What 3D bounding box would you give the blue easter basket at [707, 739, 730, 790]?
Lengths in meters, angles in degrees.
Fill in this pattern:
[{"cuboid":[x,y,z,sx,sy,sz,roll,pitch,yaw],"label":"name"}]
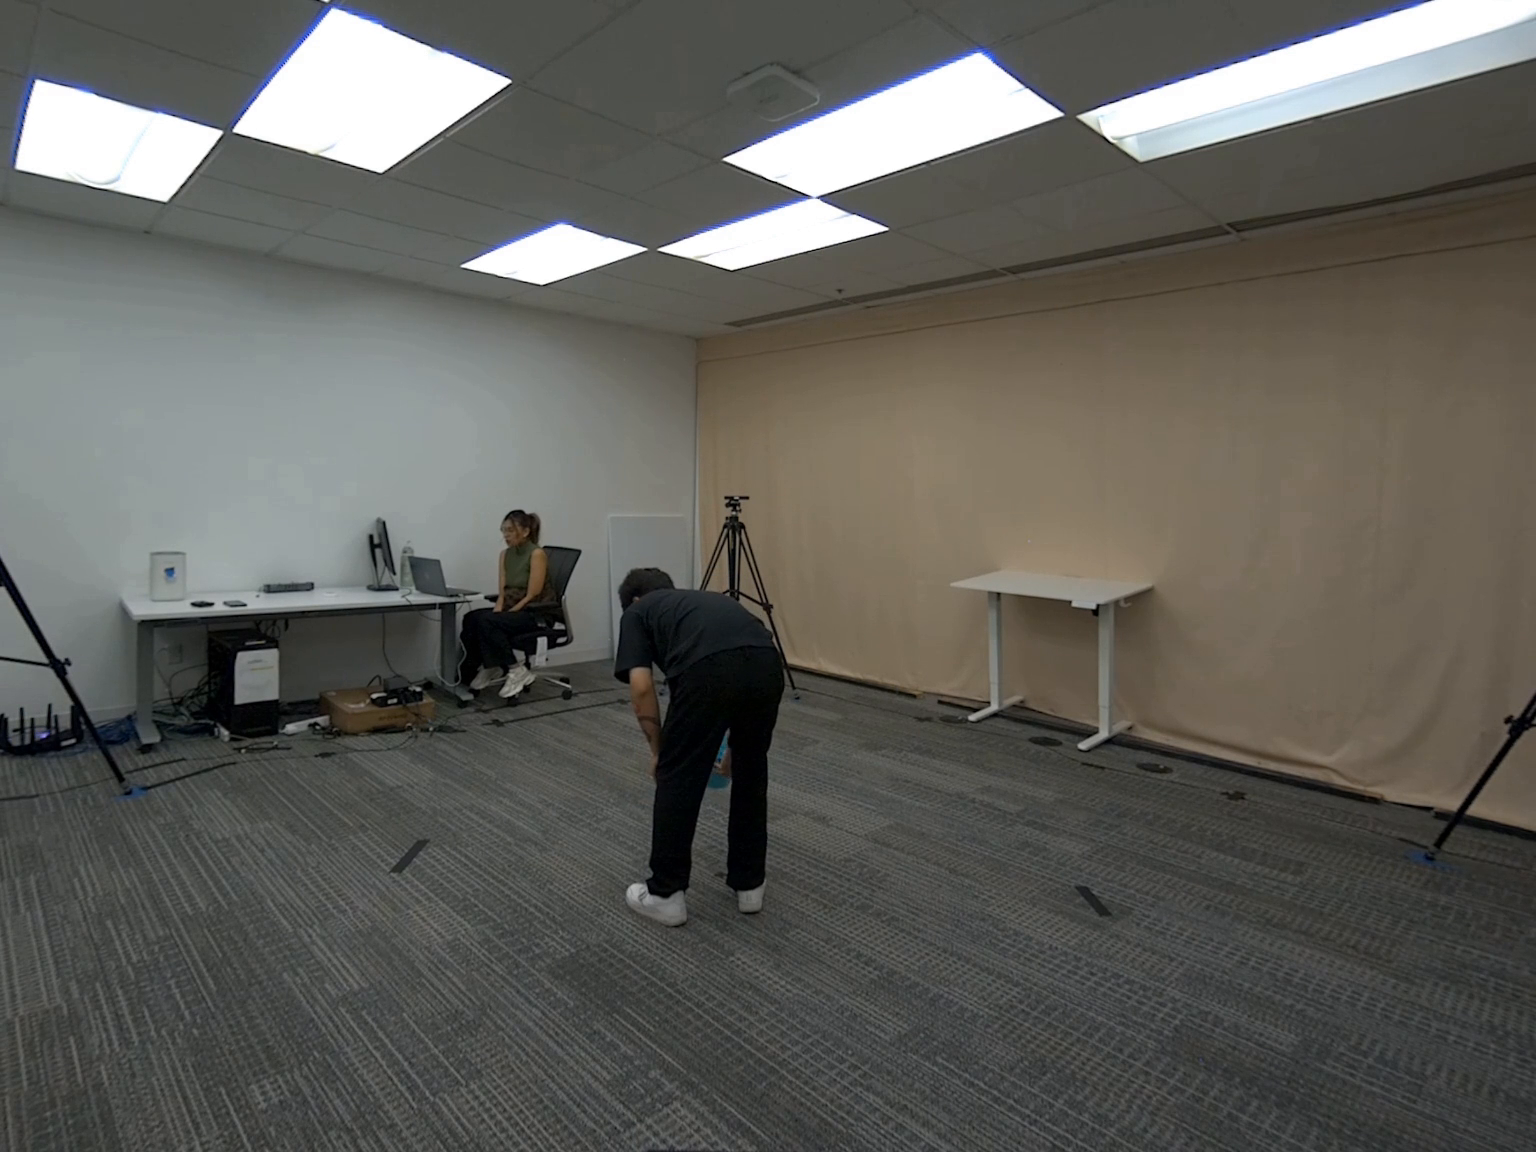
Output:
[{"cuboid":[-0.210,0.746,3.357,0.243,0.154,0.246,11,15,-4],"label":"blue easter basket"}]
